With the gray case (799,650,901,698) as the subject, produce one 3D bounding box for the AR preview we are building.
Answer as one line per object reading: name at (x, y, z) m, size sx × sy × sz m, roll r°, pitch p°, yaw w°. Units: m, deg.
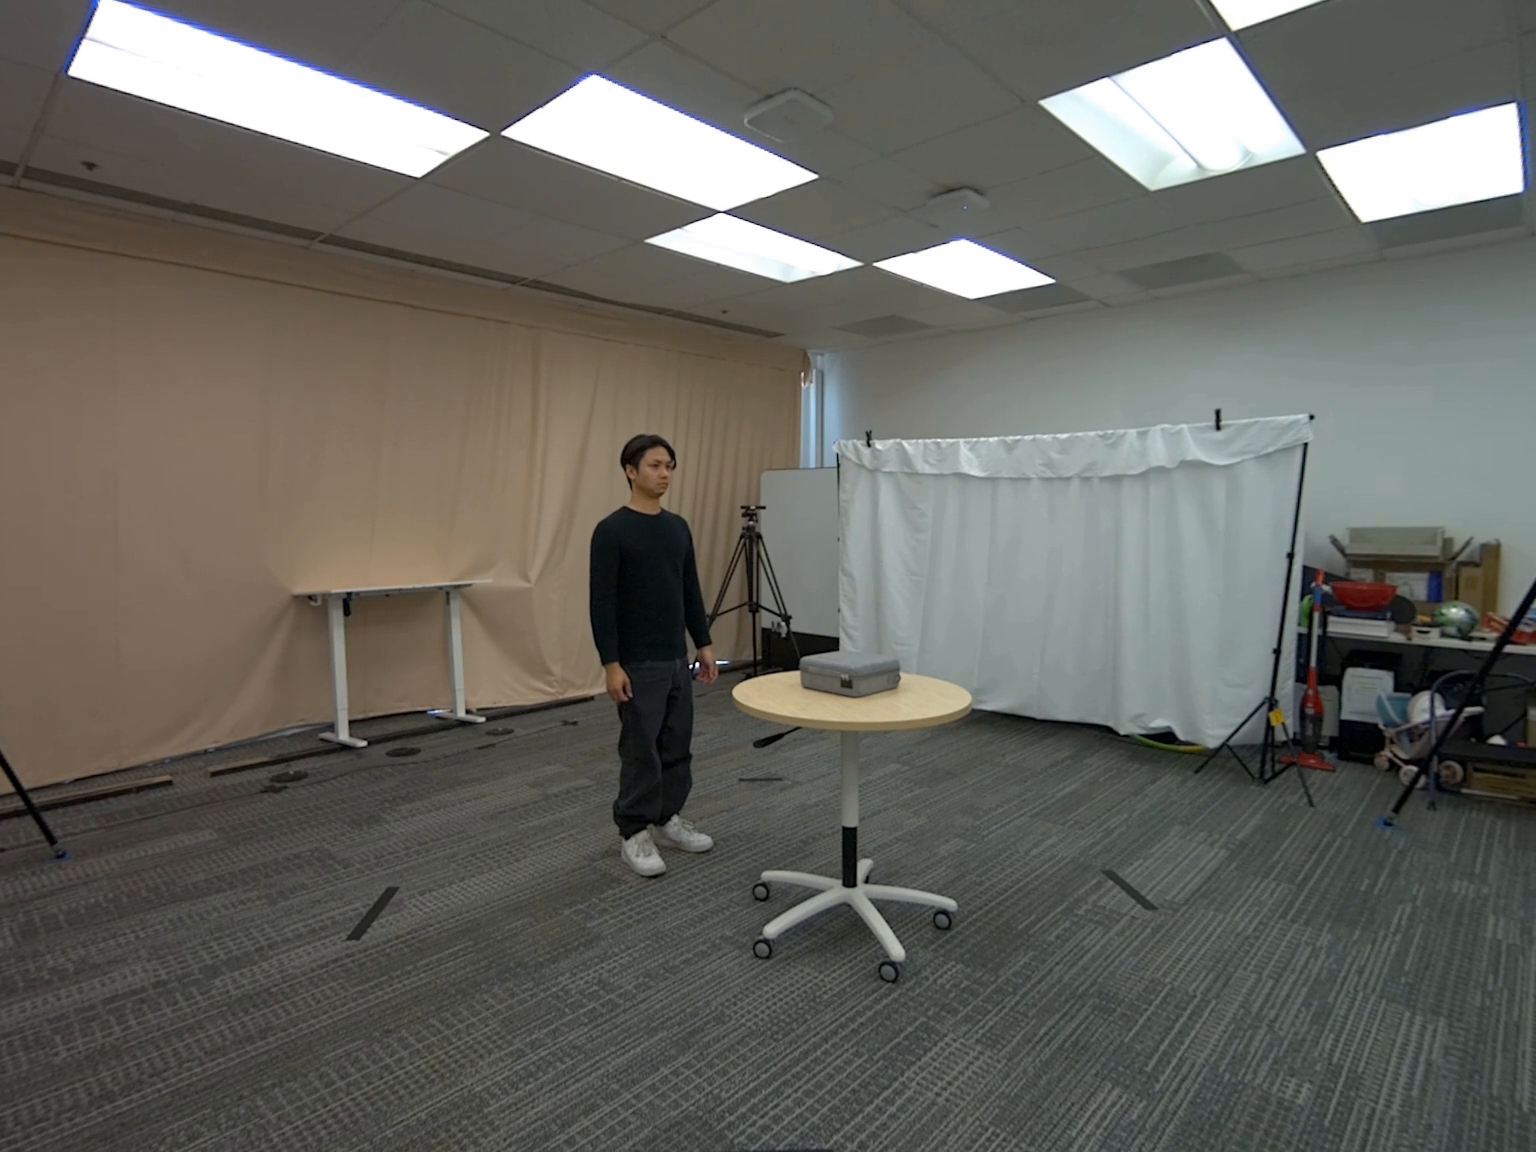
gray case at (0.278, 0.318, 2.813) m, size 0.252 × 0.104 × 0.265 m, roll -4°, pitch 5°, yaw -44°
